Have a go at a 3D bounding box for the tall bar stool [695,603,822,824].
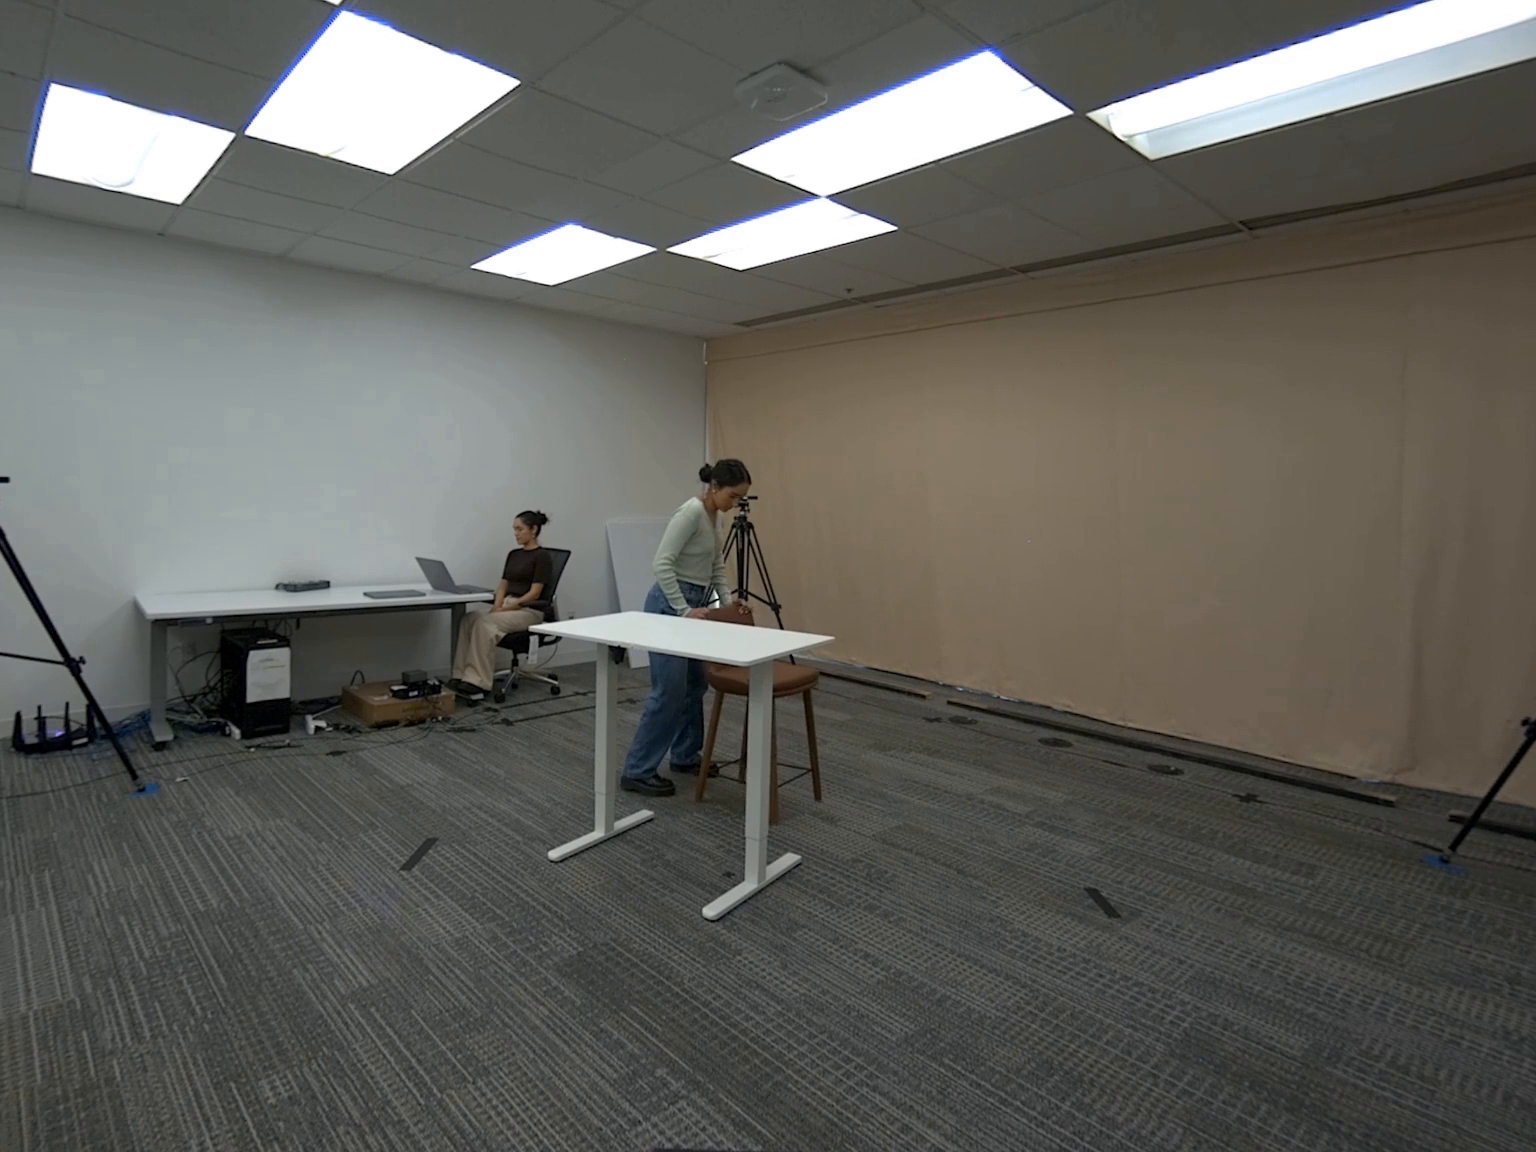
[{"bbox_3d":[-0.053,0.598,3.858,0.478,0.889,0.447,1,2,34],"label":"tall bar stool"}]
